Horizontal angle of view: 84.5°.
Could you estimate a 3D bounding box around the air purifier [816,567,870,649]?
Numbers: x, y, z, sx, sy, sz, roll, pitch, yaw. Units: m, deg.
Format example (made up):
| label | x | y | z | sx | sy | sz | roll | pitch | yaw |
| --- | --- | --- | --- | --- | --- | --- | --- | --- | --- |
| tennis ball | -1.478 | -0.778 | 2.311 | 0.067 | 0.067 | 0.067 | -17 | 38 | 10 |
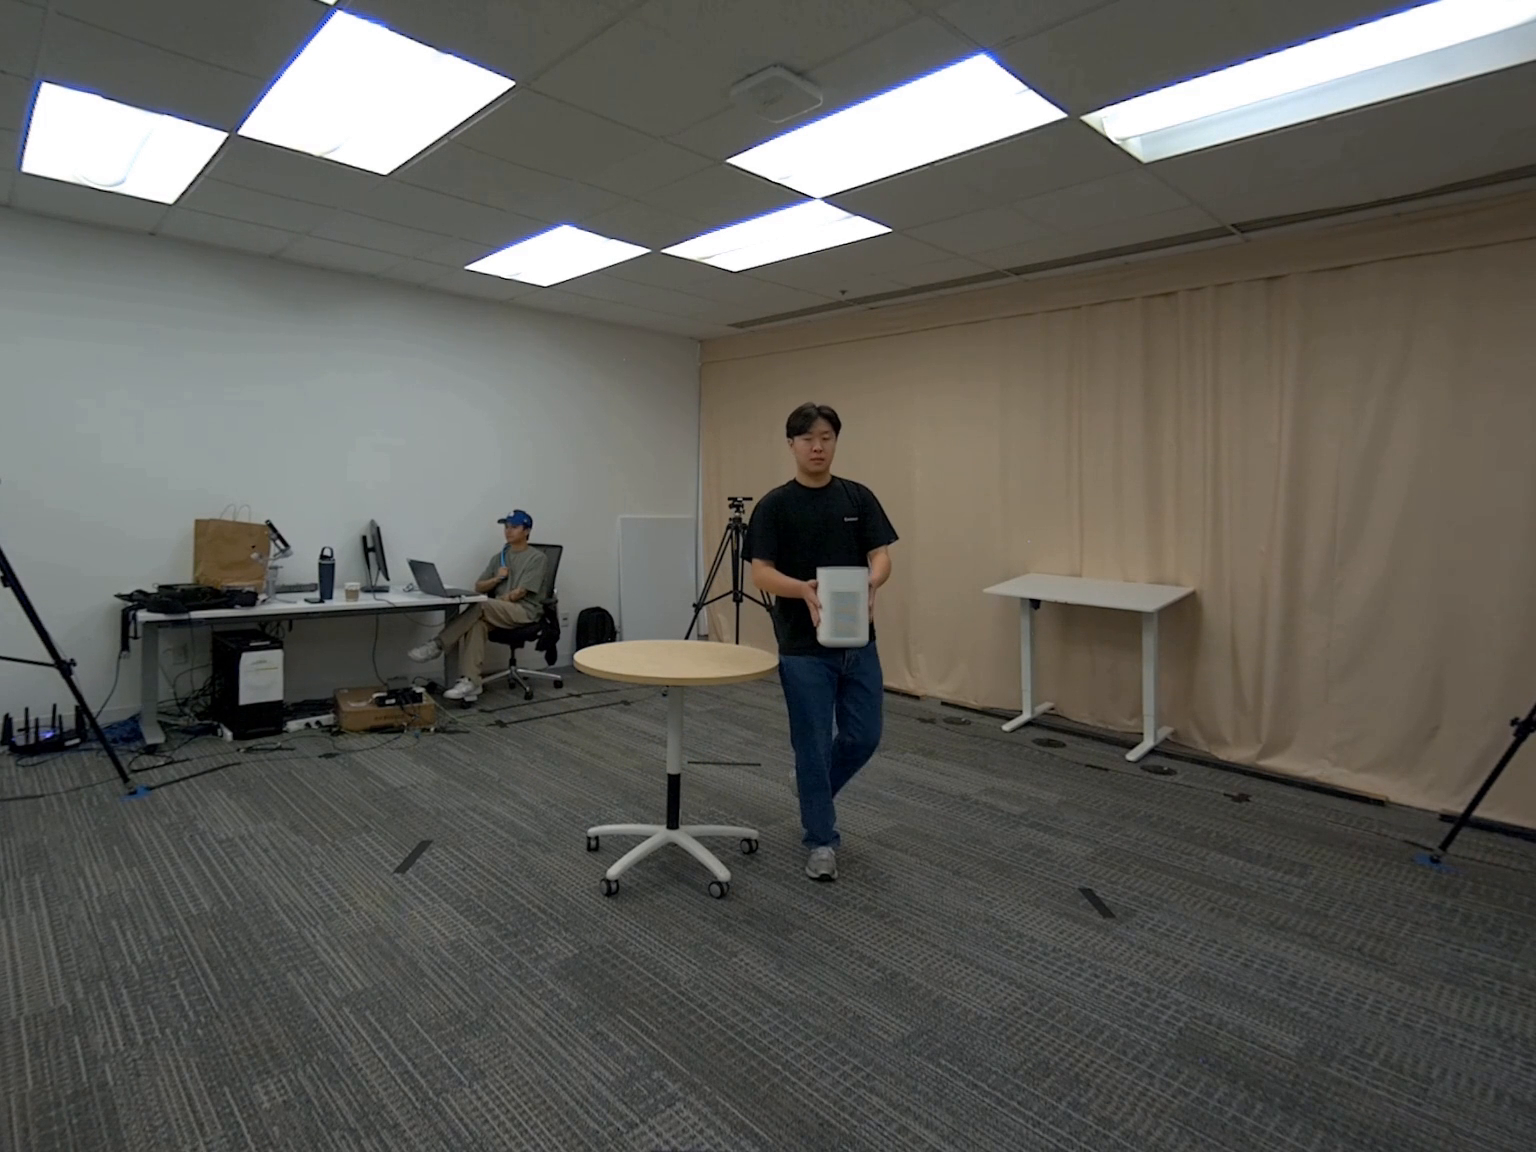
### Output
| label | x | y | z | sx | sy | sz | roll | pitch | yaw |
| --- | --- | --- | --- | --- | --- | --- | --- | --- | --- |
| air purifier | 0.242 | 0.104 | 2.856 | 0.172 | 0.265 | 0.170 | -1 | 0 | 3 |
